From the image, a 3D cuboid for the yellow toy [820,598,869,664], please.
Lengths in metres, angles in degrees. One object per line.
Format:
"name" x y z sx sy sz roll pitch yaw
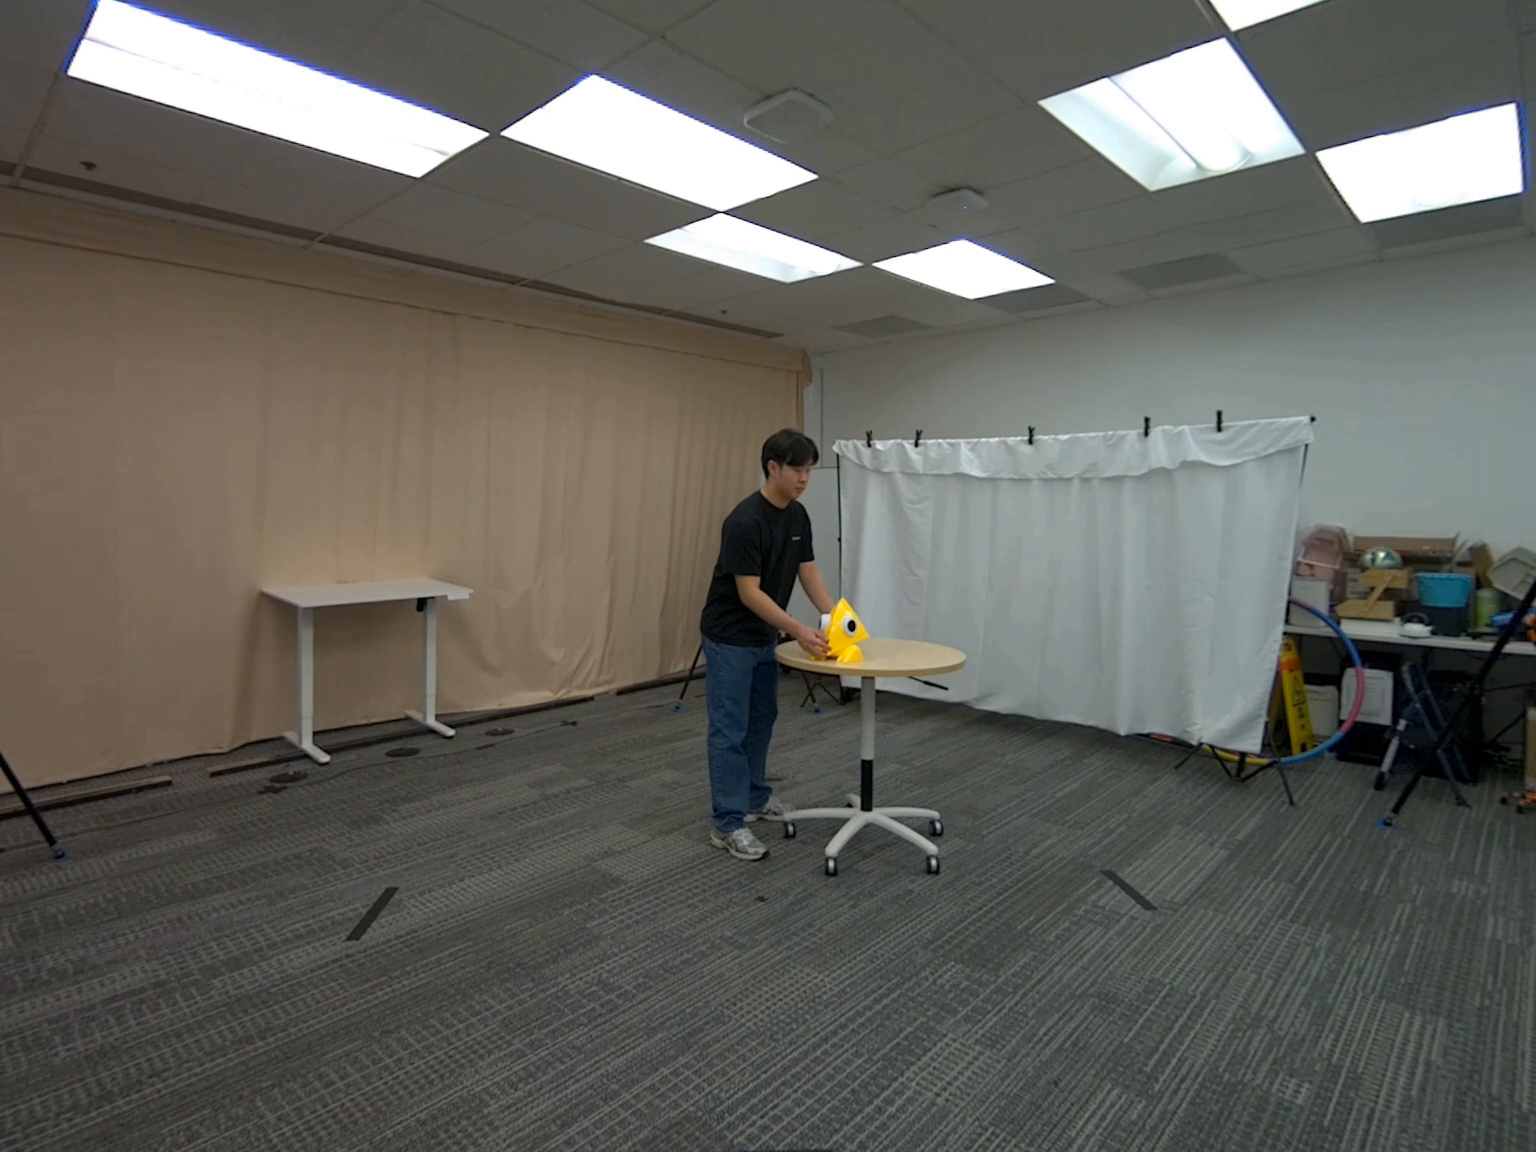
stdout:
"yellow toy" 0.282 0.205 3.291 0.210 0.230 0.188 3 4 26
